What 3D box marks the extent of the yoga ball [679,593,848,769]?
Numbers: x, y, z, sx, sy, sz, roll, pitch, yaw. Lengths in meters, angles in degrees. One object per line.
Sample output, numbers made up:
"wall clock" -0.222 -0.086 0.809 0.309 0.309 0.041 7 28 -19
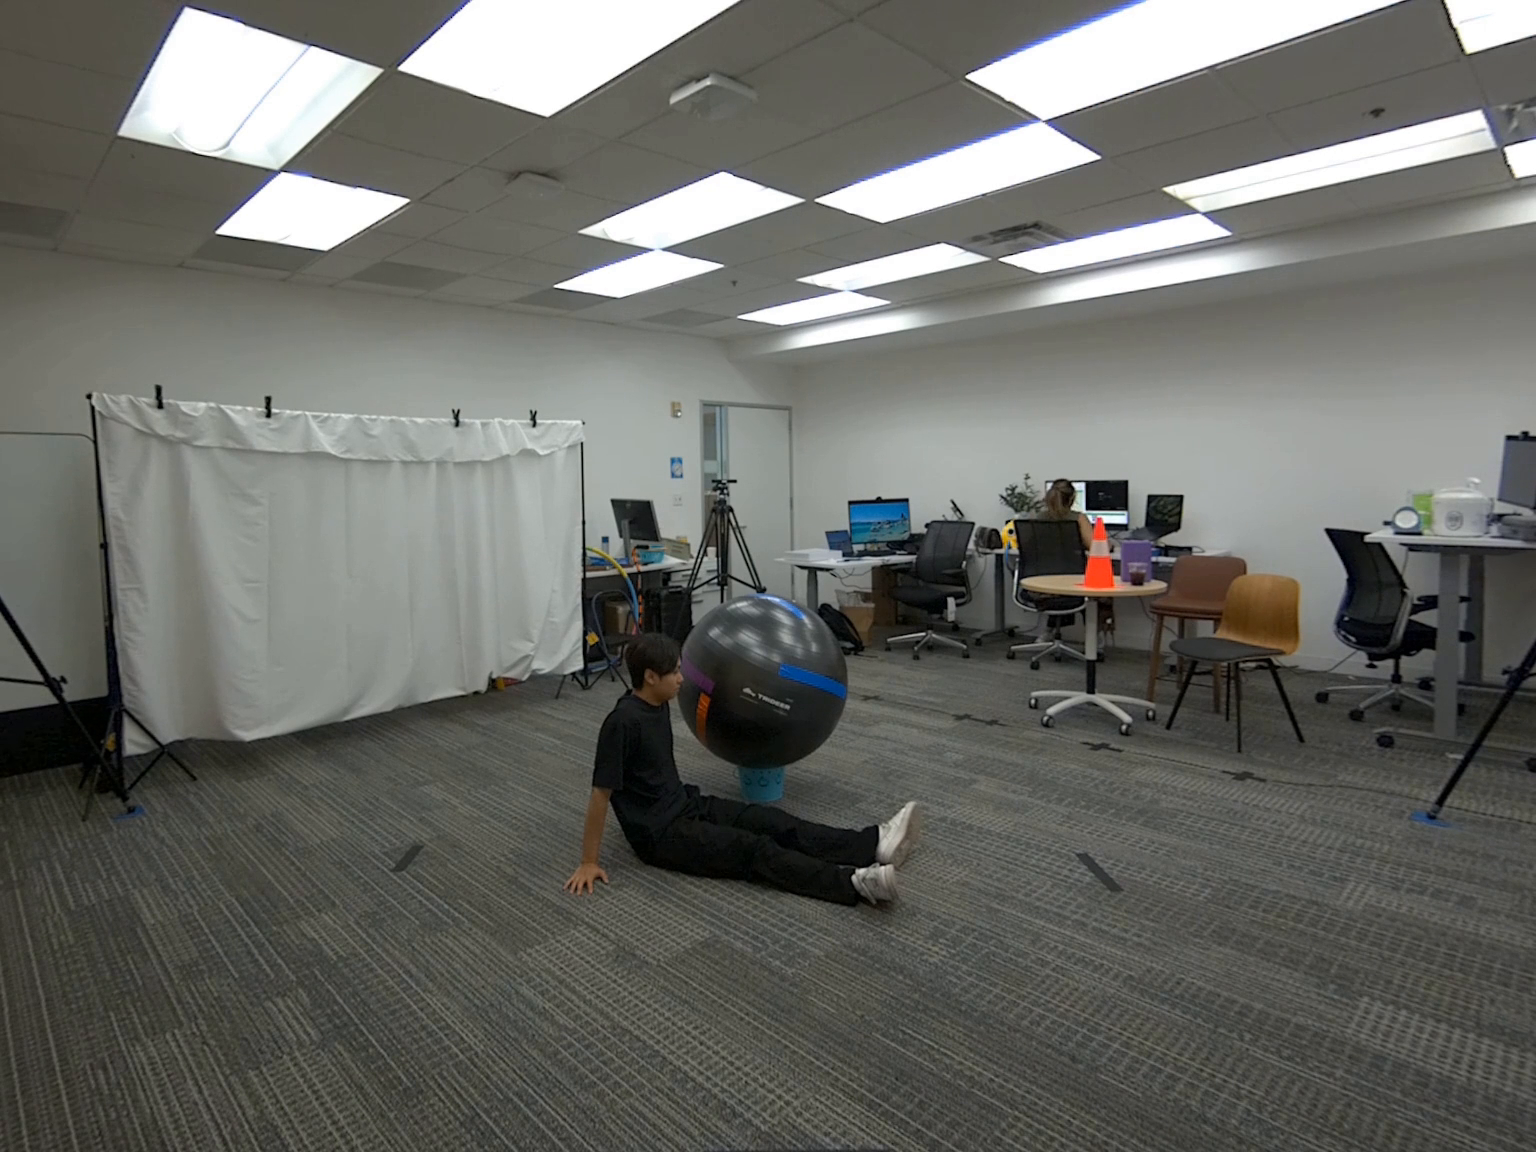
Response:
"yoga ball" -0.027 0.466 3.782 0.757 0.755 0.762 -1 5 -2
